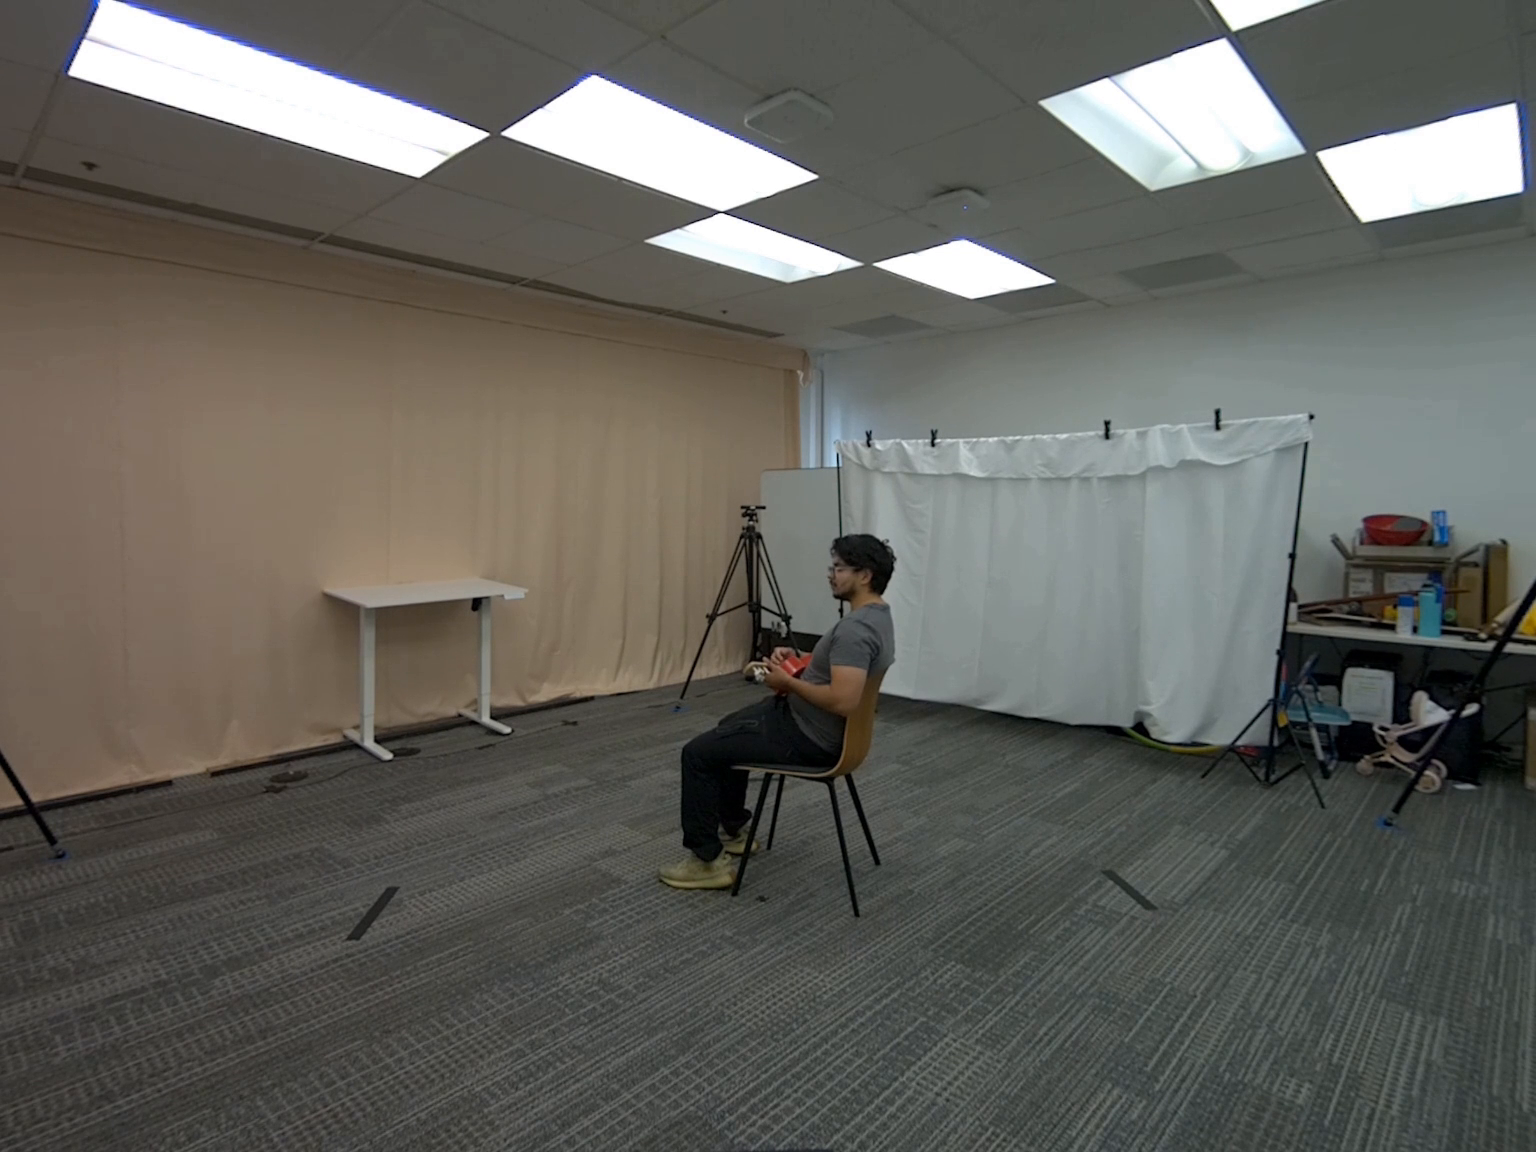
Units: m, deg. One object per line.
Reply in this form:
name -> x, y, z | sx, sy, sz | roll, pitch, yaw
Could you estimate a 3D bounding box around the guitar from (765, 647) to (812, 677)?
guitar -> 0.030, 0.376, 3.082 | 0.072, 0.193, 0.483 | 48, 23, 22
